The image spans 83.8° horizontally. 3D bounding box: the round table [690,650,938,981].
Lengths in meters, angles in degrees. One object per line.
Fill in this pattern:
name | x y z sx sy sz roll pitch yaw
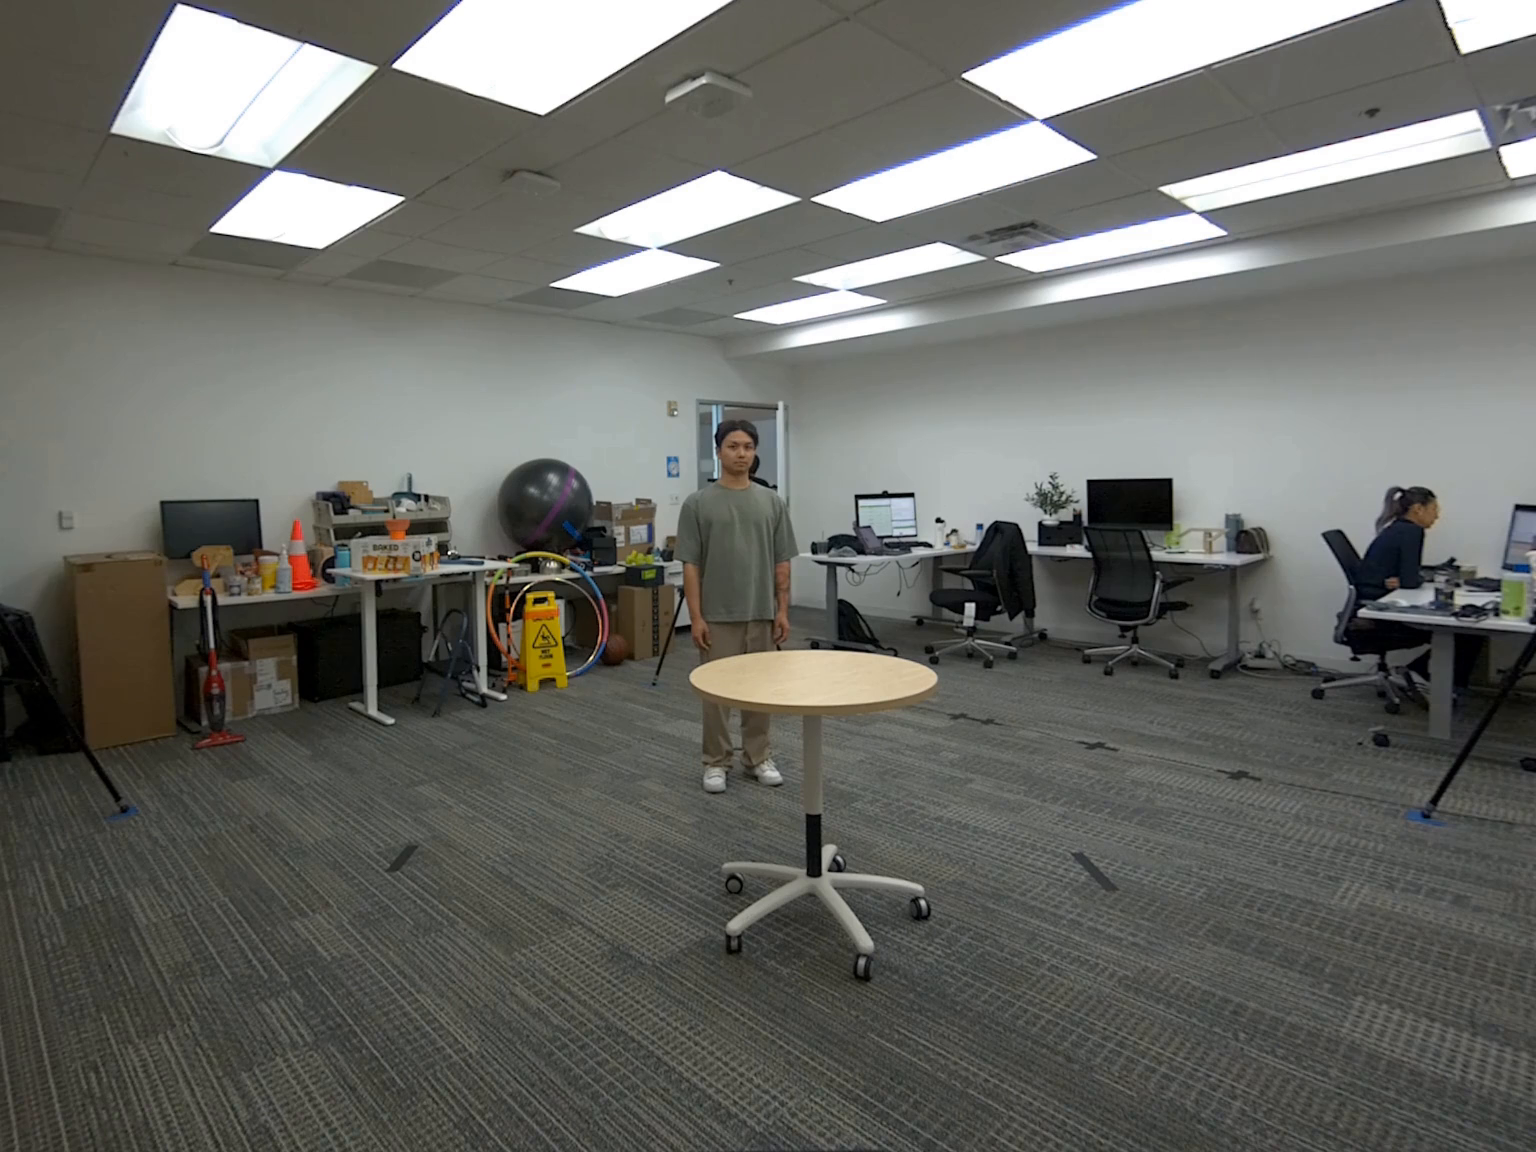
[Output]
round table | 0.145 0.700 2.679 0.784 0.784 0.788 -2 4 -2
